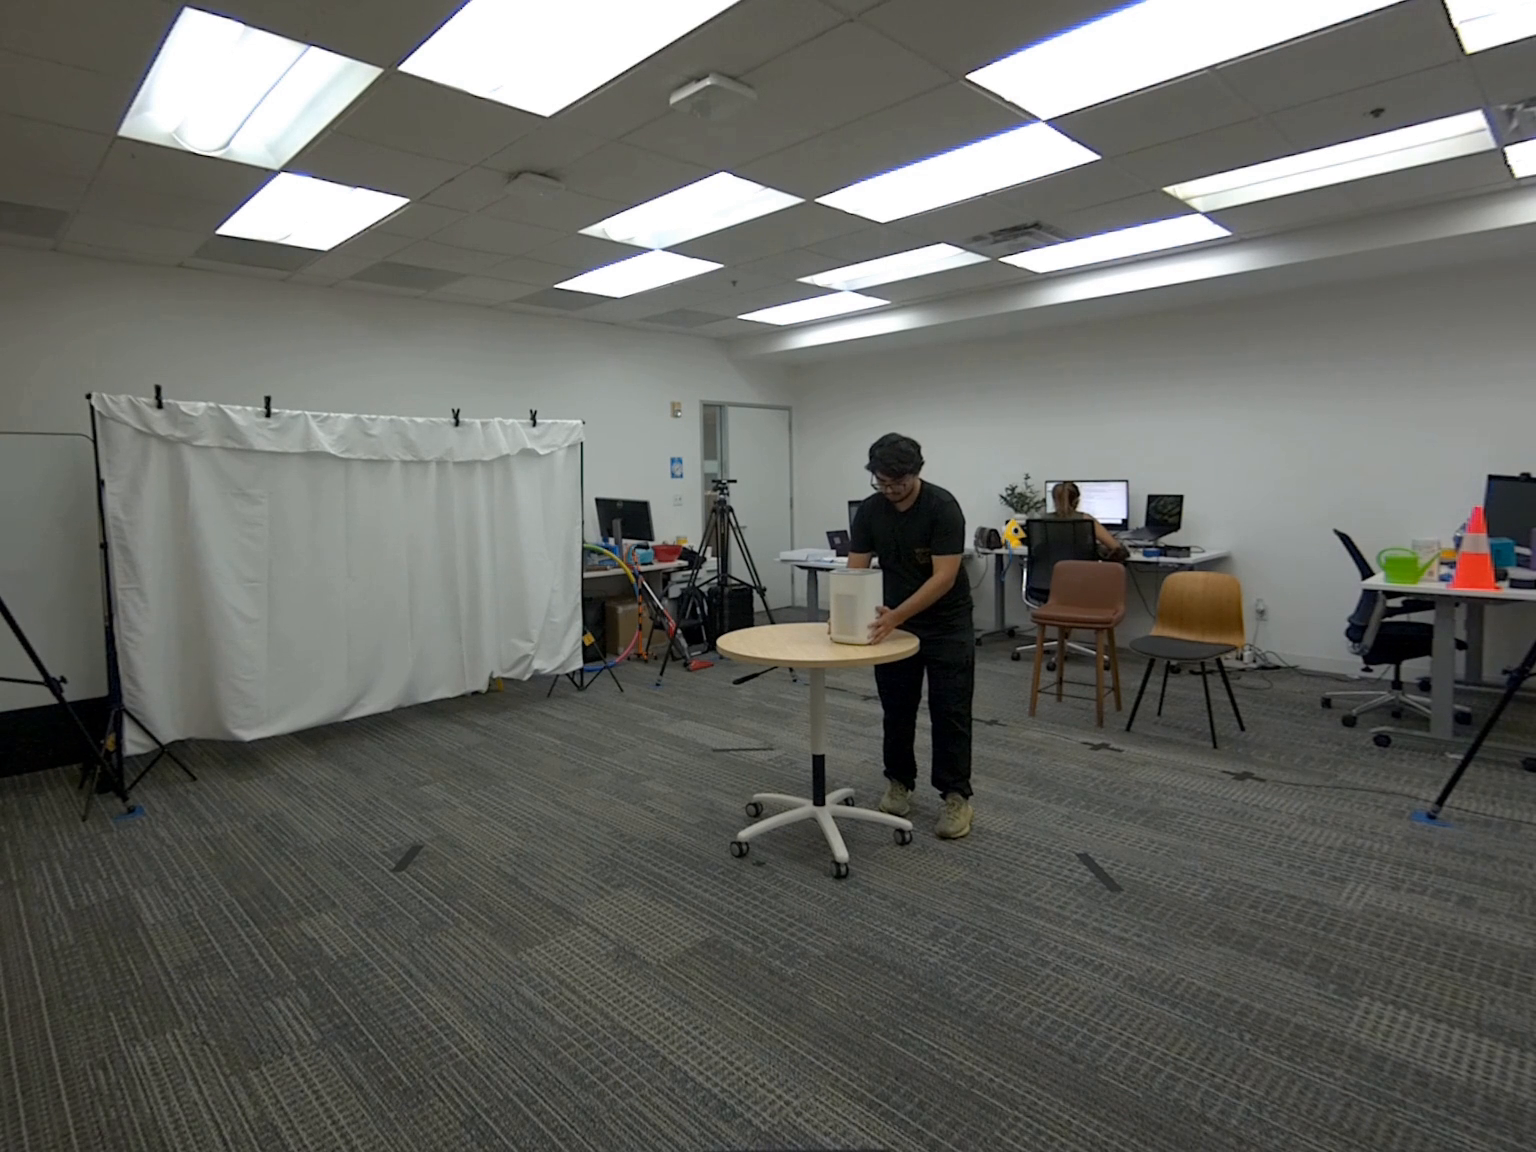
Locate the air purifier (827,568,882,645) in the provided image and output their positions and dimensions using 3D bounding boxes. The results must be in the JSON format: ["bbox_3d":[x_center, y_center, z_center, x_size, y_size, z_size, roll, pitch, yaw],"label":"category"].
[{"bbox_3d":[0.333,0.114,3.195,0.176,0.264,0.167,3,6,36],"label":"air purifier"}]
